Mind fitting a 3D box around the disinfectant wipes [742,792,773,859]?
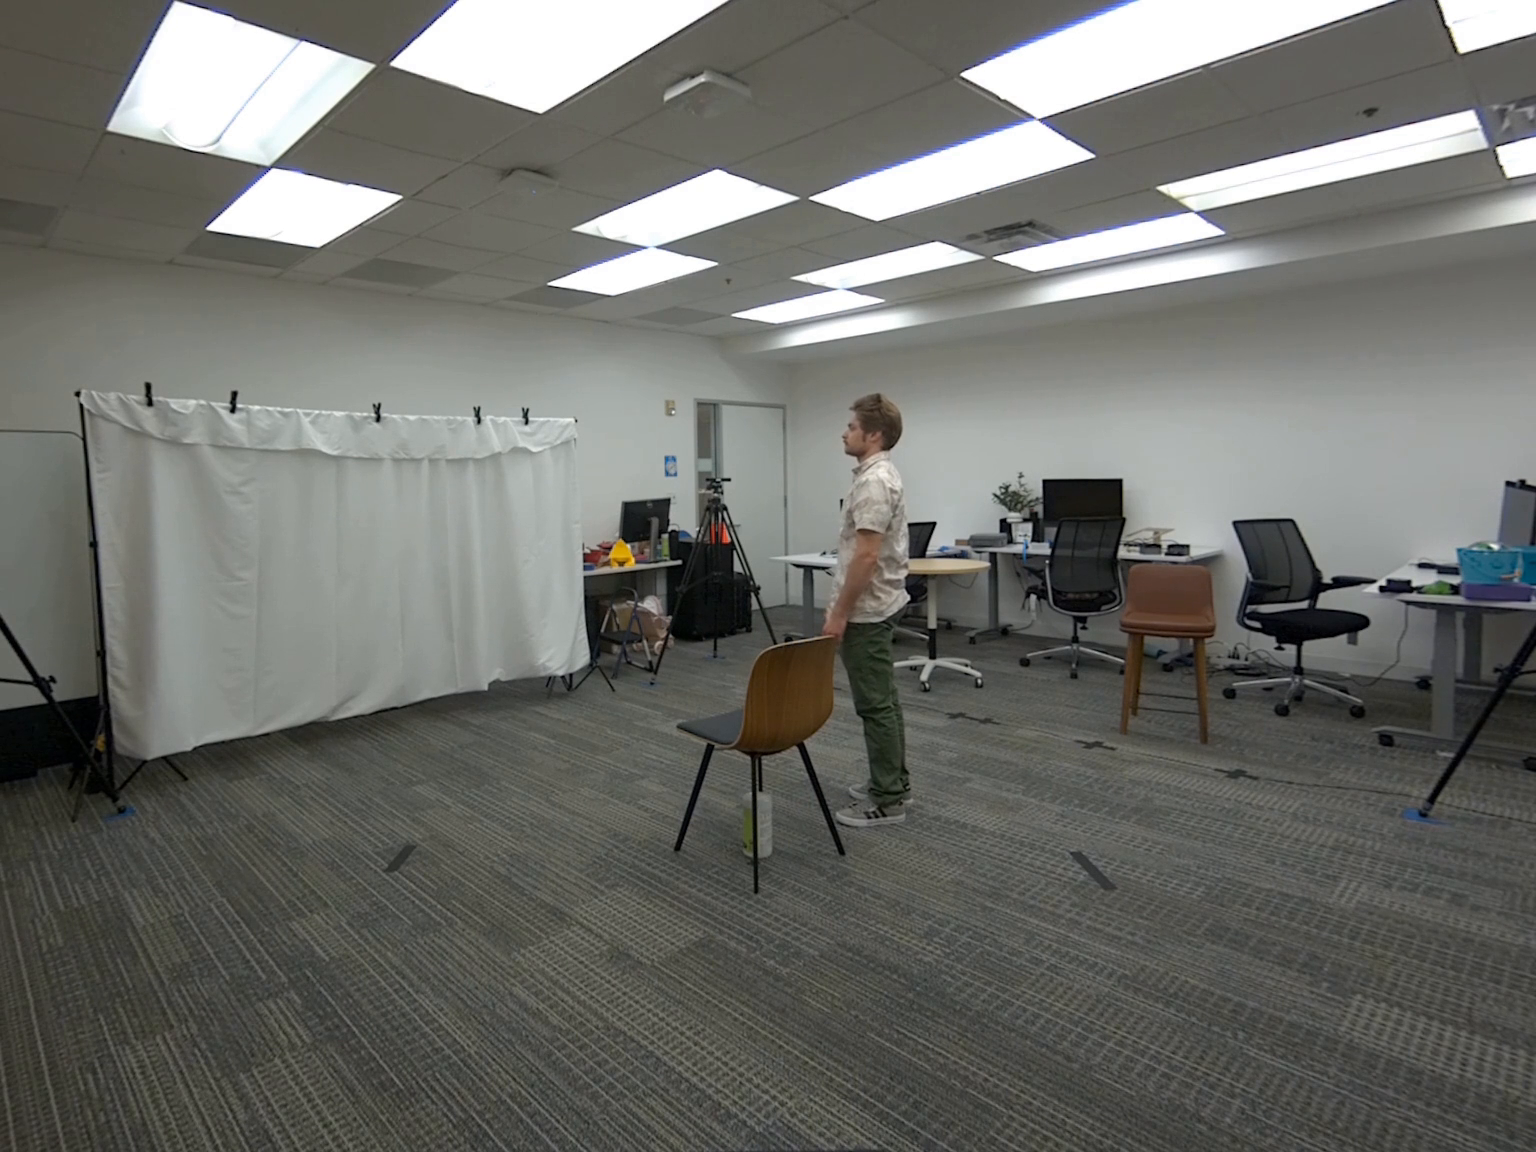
[{"bbox_3d":[-0.033,0.938,3.183,0.118,0.216,0.119,0,8,-2],"label":"disinfectant wipes"}]
